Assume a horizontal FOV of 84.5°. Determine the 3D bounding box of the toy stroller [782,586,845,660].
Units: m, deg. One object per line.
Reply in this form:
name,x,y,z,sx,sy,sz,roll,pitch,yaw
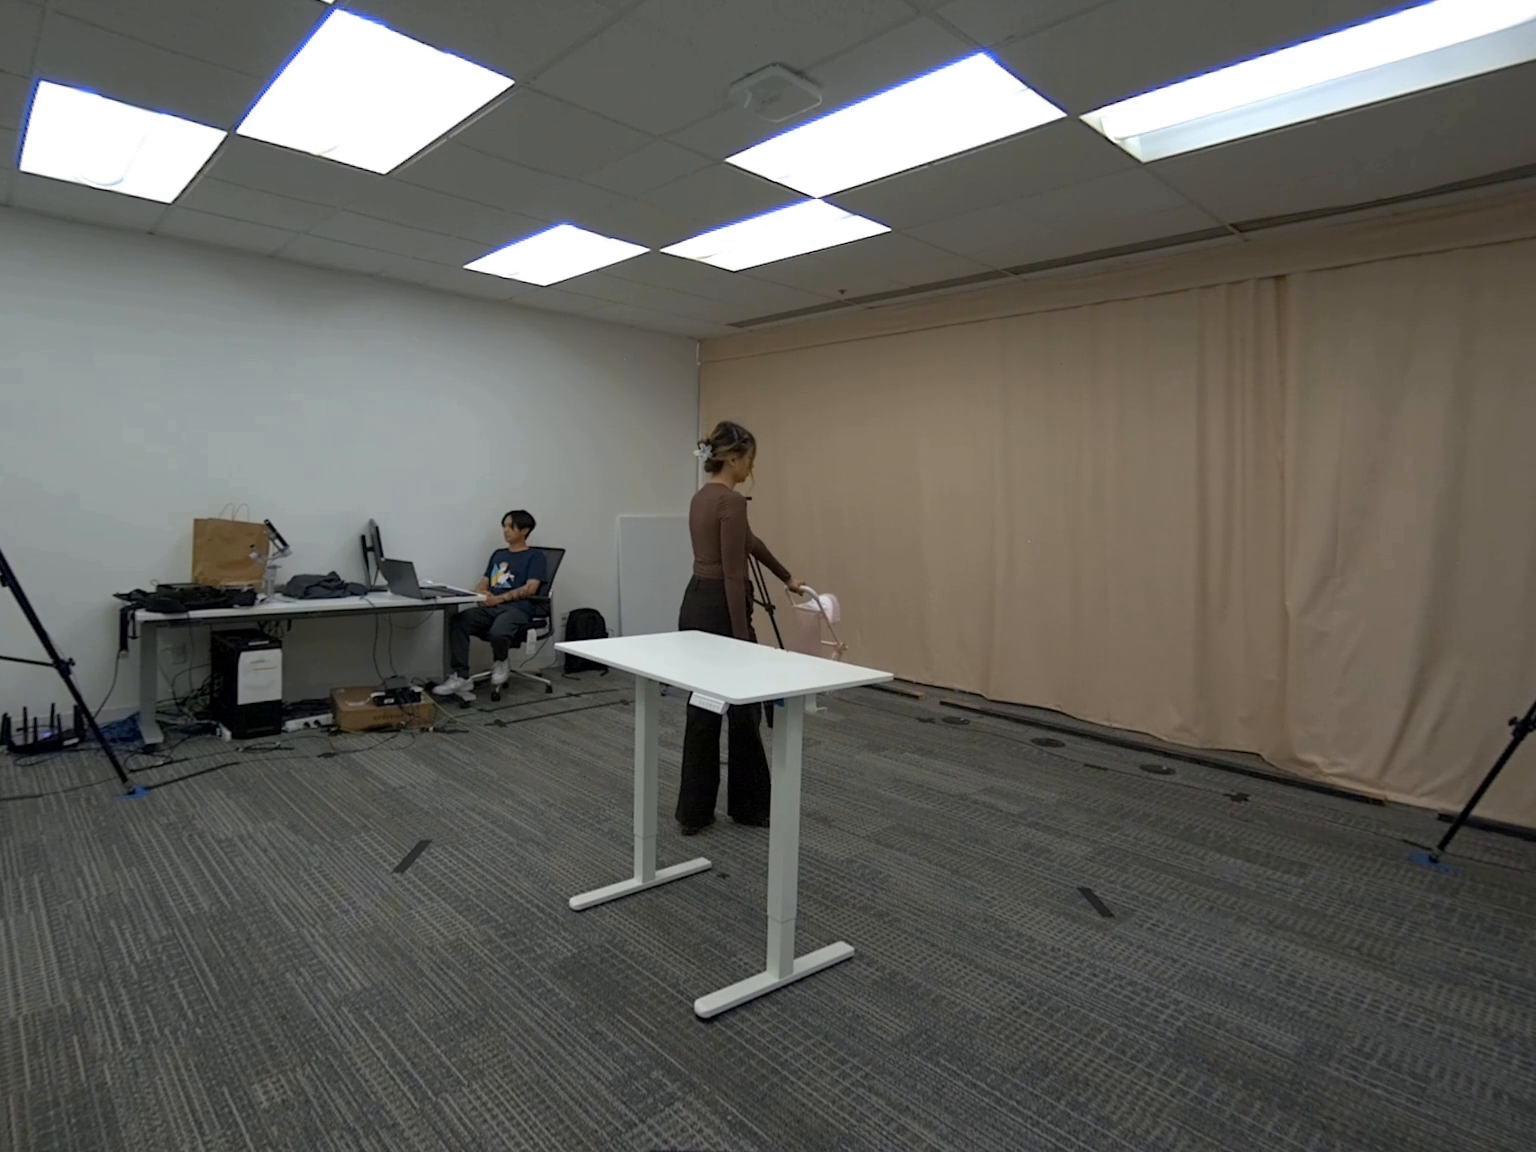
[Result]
toy stroller,0.223,0.316,3.974,0.333,0.535,0.288,4,0,-39
